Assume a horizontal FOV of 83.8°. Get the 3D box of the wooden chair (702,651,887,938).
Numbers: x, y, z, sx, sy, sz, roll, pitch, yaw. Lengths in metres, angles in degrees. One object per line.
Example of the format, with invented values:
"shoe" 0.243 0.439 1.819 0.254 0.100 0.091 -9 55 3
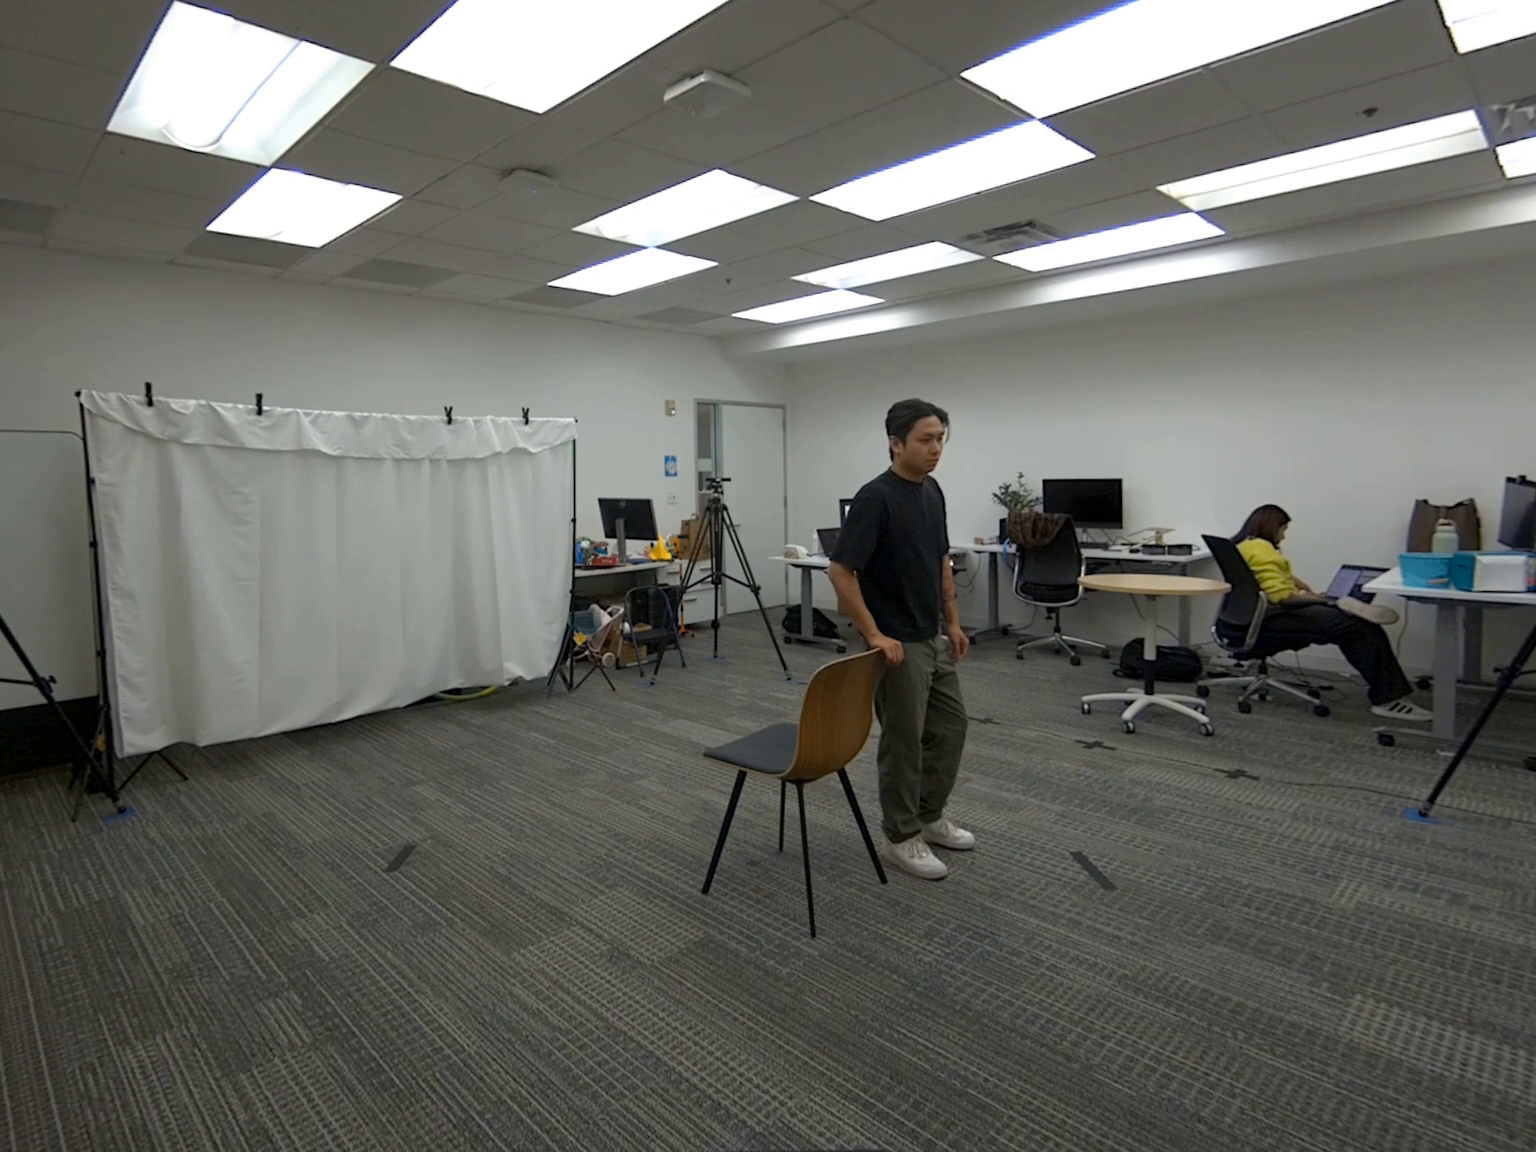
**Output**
"wooden chair" 0.079 0.639 2.873 0.540 0.872 0.466 8 9 38
